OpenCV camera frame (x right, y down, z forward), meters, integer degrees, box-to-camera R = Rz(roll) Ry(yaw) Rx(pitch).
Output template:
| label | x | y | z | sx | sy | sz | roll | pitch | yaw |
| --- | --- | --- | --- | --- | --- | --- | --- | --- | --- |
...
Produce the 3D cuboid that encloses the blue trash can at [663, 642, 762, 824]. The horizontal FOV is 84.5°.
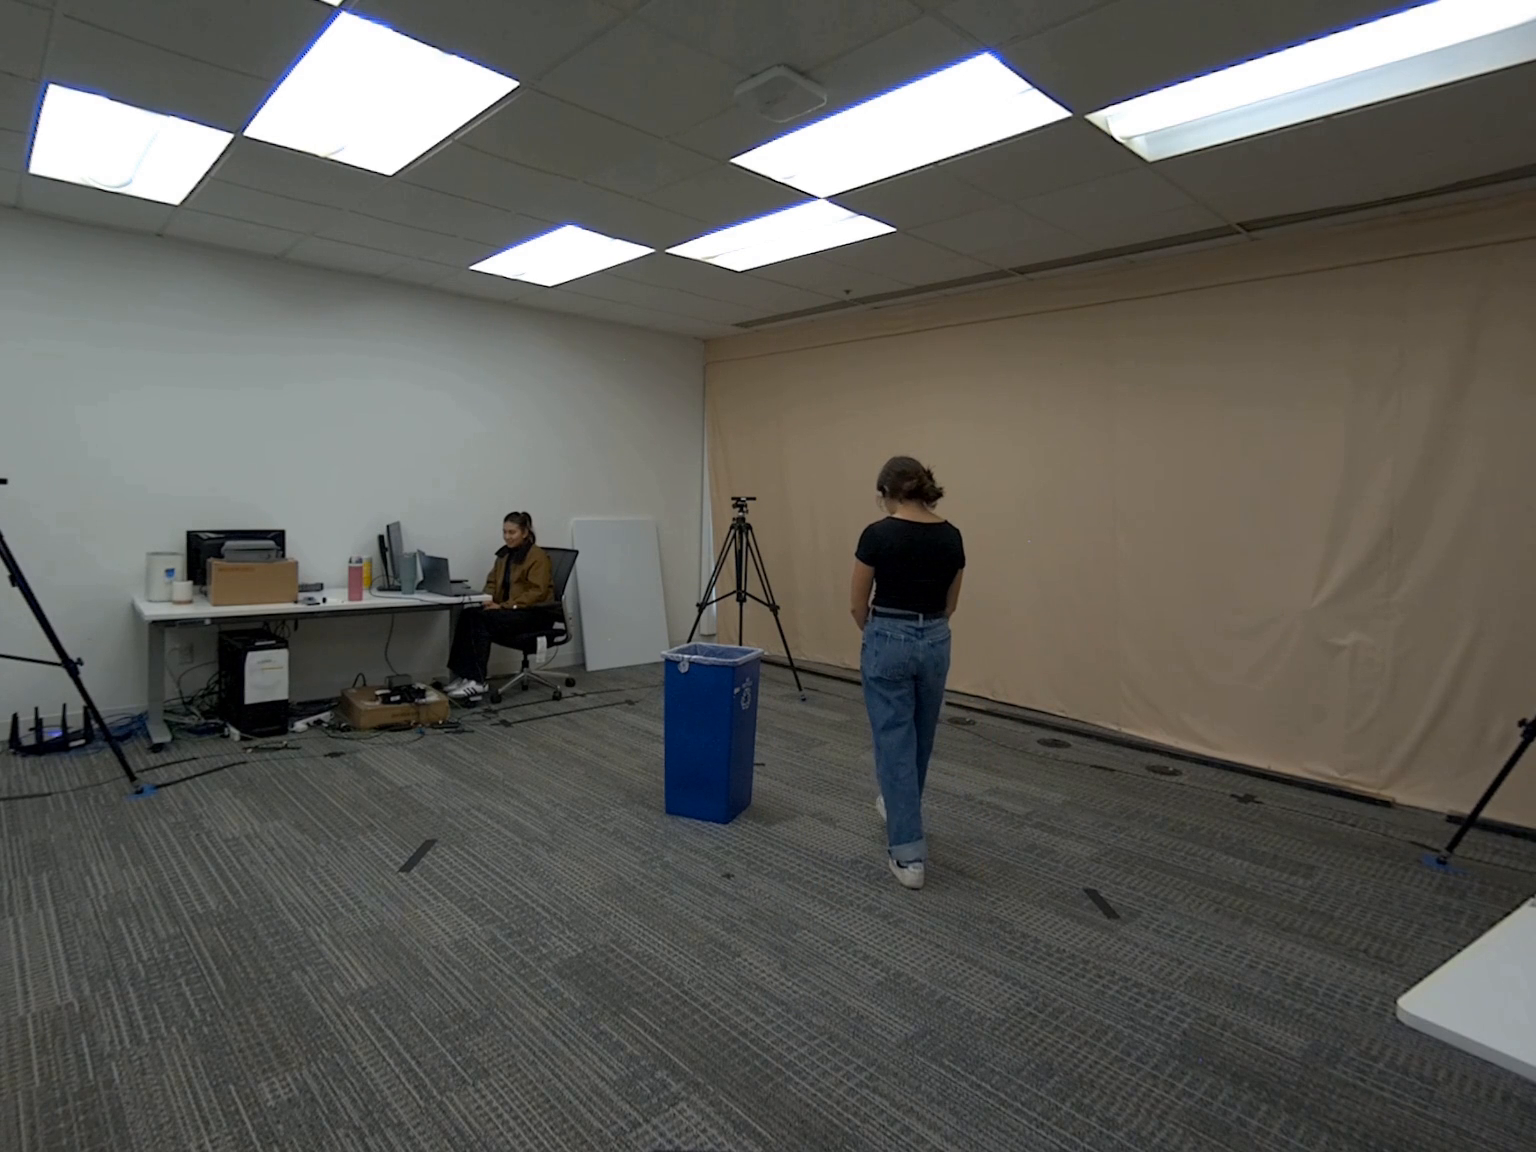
| label | x | y | z | sx | sy | sz | roll | pitch | yaw |
| --- | --- | --- | --- | --- | --- | --- | --- | --- | --- |
| blue trash can | -0.264 | 0.688 | 3.784 | 0.385 | 0.712 | 0.368 | 3 | 4 | 21 |
